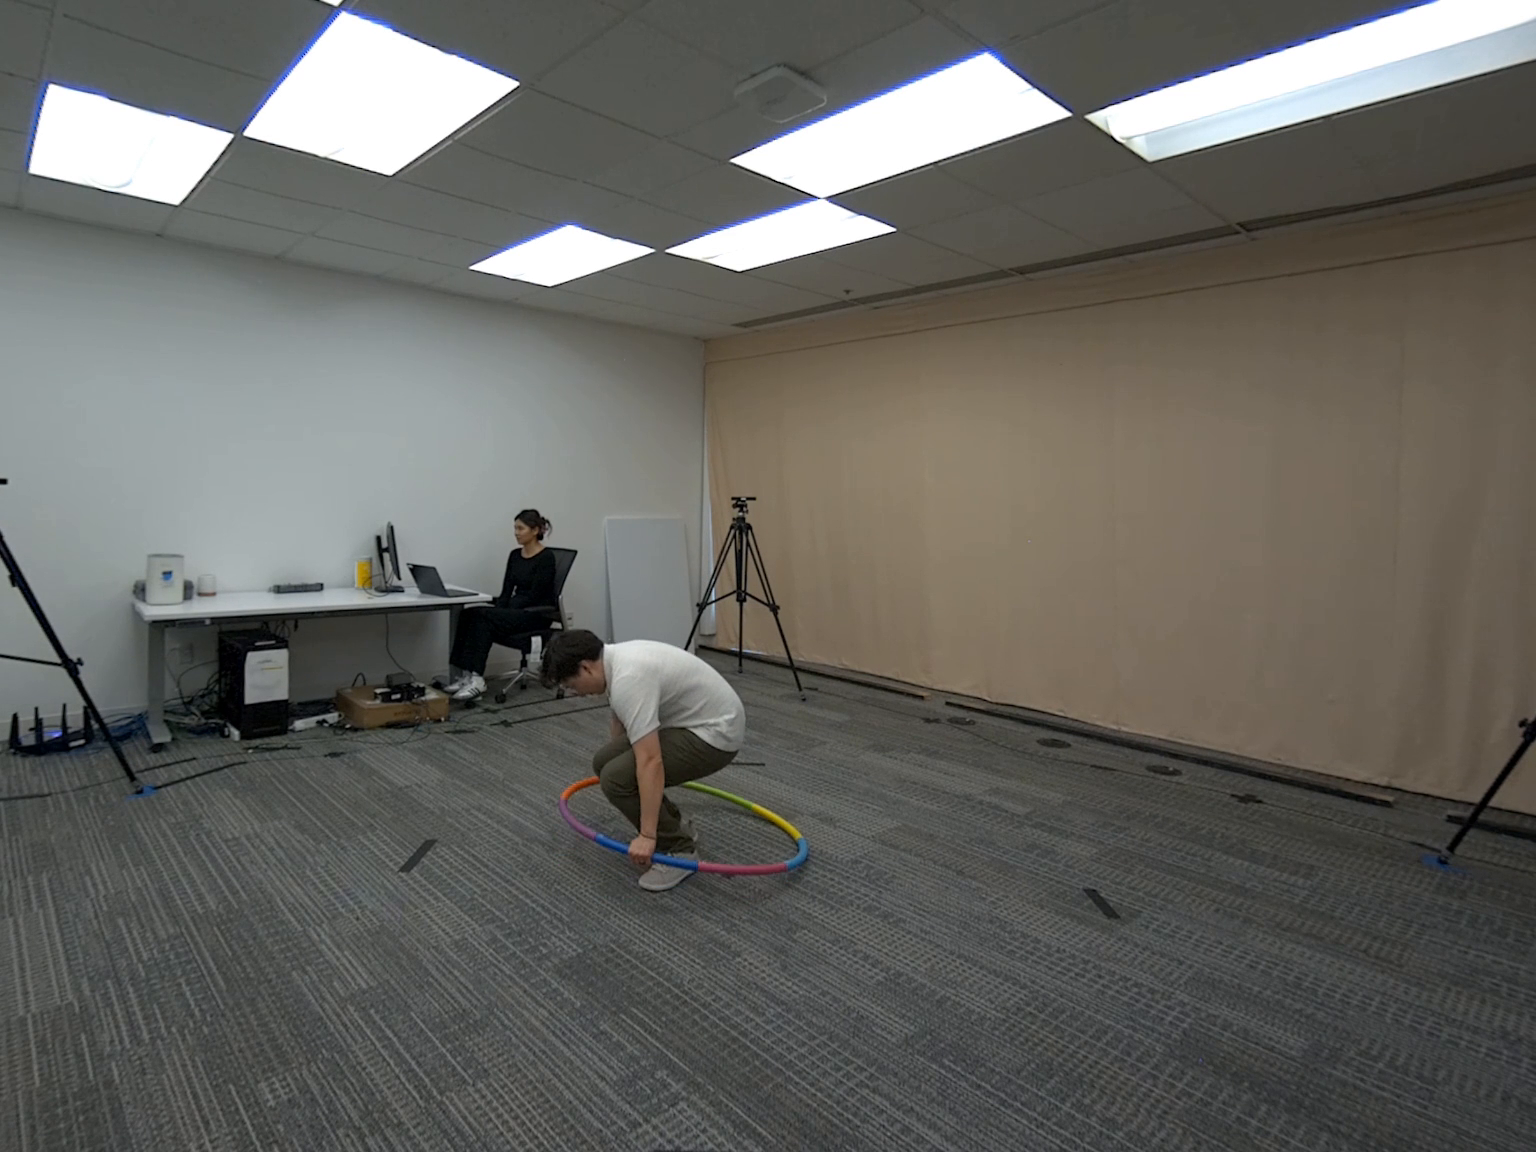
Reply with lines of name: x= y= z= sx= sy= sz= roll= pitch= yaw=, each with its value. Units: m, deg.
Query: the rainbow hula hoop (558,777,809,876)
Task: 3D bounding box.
rainbow hula hoop: x=-0.339 y=0.952 z=3.323 sx=0.978 sy=0.035 sz=0.979 roll=12 pitch=0 yaw=-1
